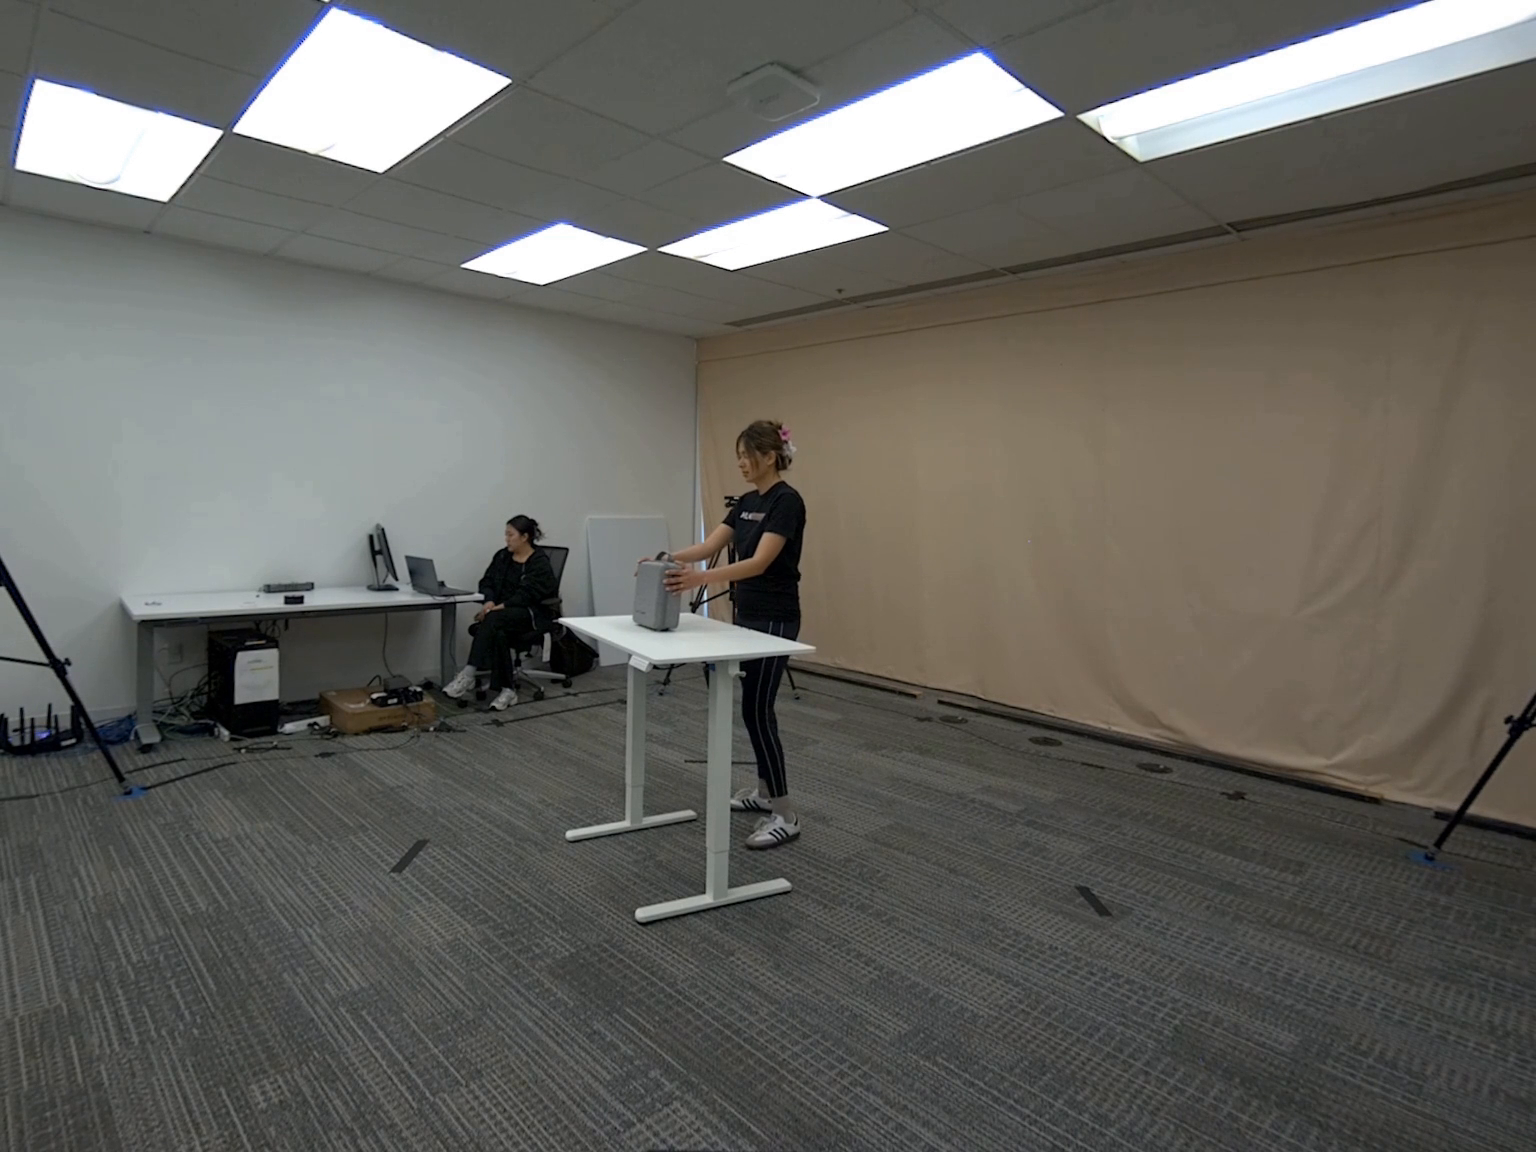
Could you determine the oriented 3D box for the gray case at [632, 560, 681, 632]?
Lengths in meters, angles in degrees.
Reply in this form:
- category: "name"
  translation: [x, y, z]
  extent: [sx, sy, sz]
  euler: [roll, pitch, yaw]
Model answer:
- category: "gray case"
  translation: [-0.440, 0.072, 3.253]
  extent: [0.102, 0.261, 0.262]
  euler: [5, 0, -26]
